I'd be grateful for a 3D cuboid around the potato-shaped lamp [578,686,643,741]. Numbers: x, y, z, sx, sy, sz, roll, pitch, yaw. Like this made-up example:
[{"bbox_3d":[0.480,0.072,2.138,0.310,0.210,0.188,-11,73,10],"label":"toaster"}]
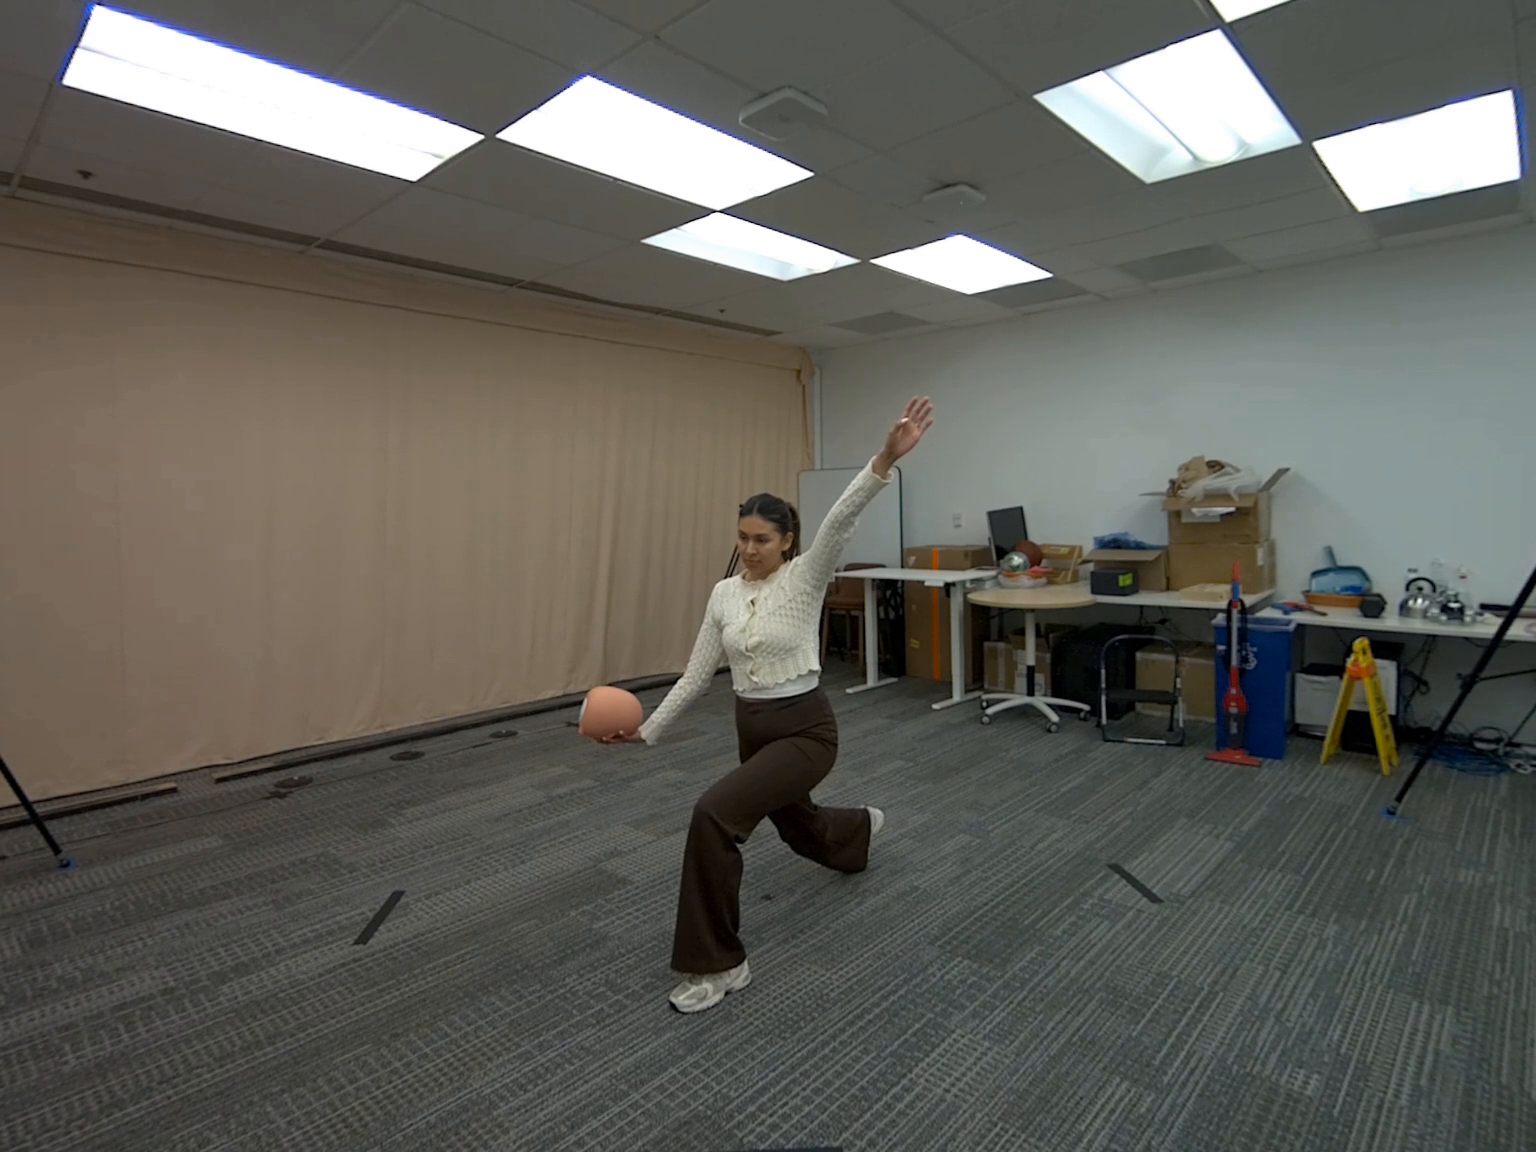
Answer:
[{"bbox_3d":[-0.507,0.456,2.757,0.194,0.171,0.168,15,11,-16],"label":"potato-shaped lamp"}]
